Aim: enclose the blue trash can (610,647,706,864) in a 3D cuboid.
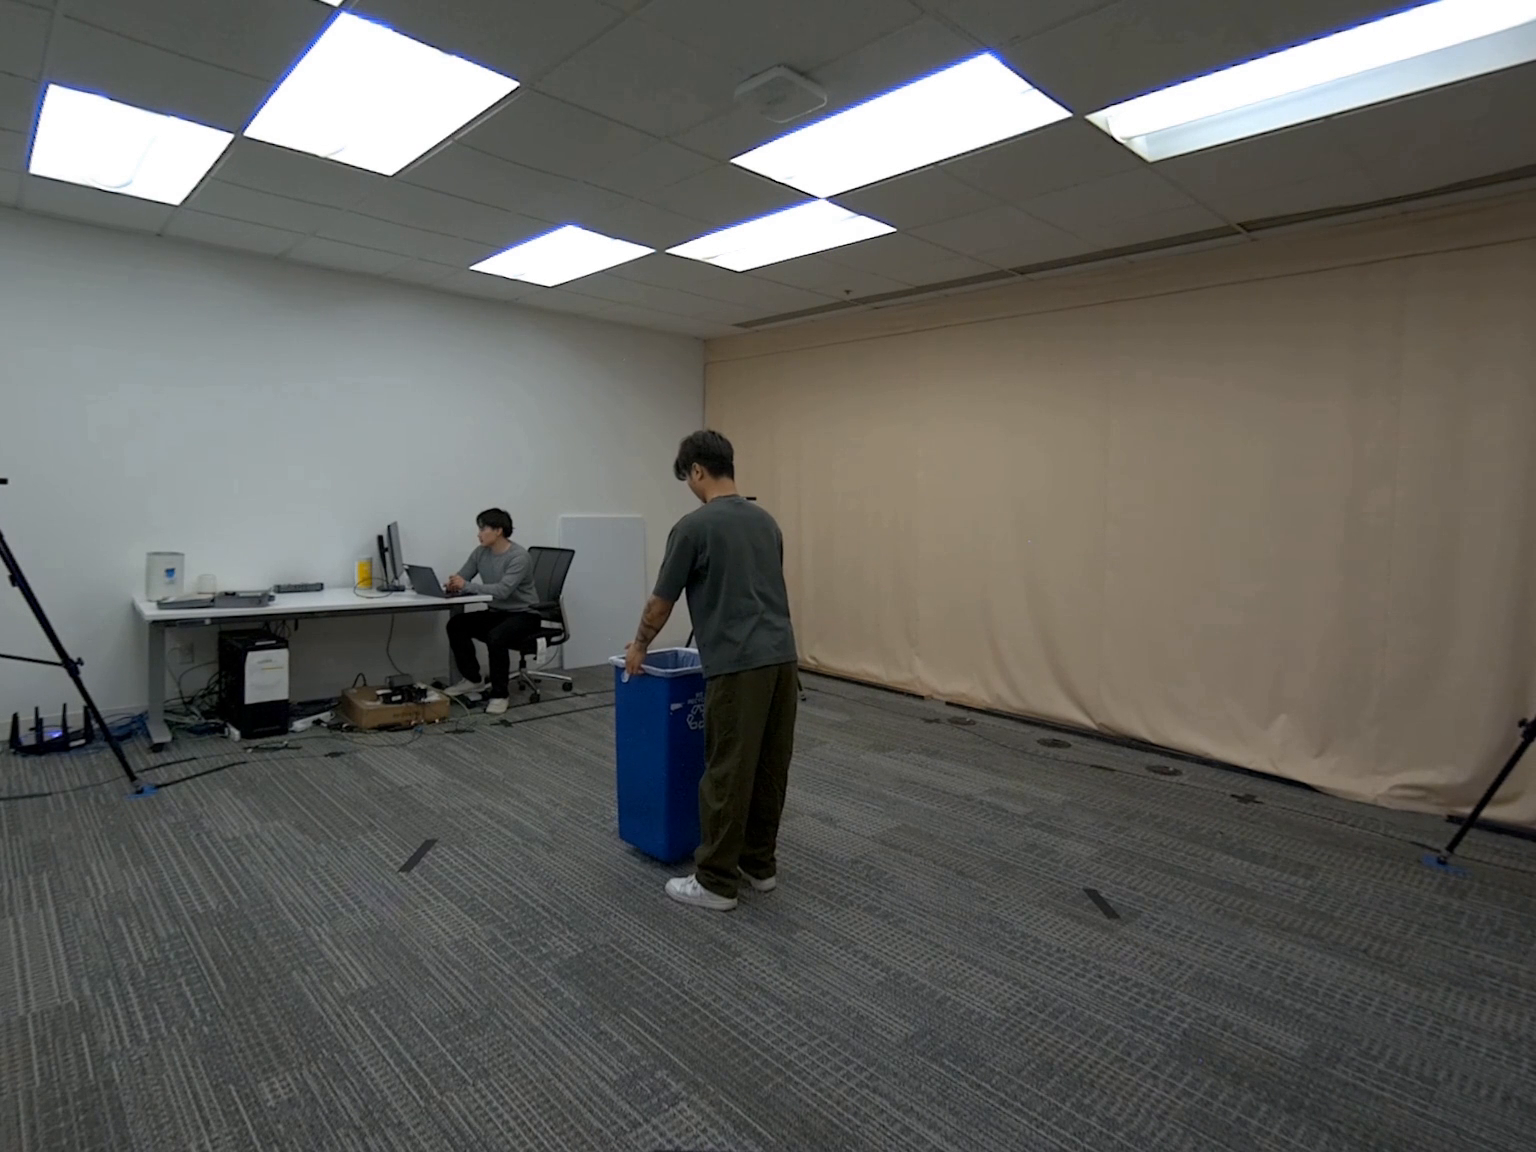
[{"bbox_3d":[-0.388,0.678,3.277,0.384,0.712,0.369,5,5,44],"label":"blue trash can"}]
